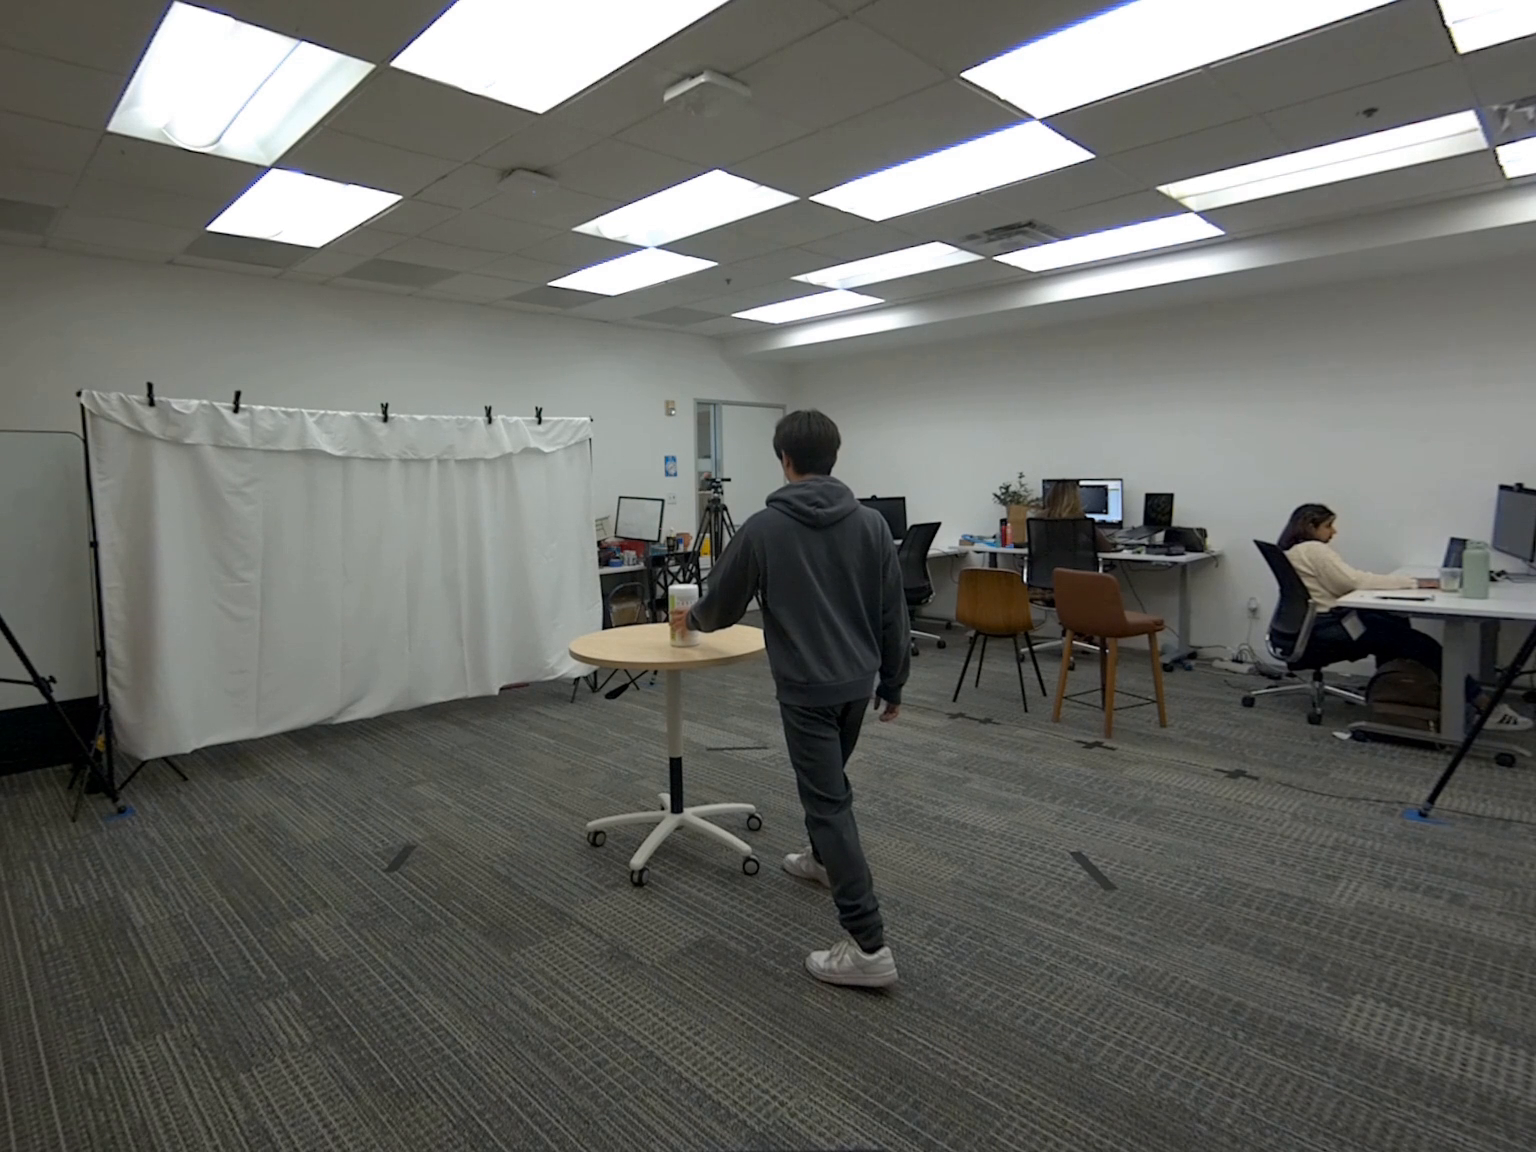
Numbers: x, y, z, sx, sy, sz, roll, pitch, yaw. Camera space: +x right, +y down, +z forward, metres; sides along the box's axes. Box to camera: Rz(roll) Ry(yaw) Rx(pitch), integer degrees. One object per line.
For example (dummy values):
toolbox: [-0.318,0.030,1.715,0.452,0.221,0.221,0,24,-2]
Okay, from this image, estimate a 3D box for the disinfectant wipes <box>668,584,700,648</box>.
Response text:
disinfectant wipes: [-0.296,0.141,3.099,0.118,0.217,0.118,-1,4,-2]
